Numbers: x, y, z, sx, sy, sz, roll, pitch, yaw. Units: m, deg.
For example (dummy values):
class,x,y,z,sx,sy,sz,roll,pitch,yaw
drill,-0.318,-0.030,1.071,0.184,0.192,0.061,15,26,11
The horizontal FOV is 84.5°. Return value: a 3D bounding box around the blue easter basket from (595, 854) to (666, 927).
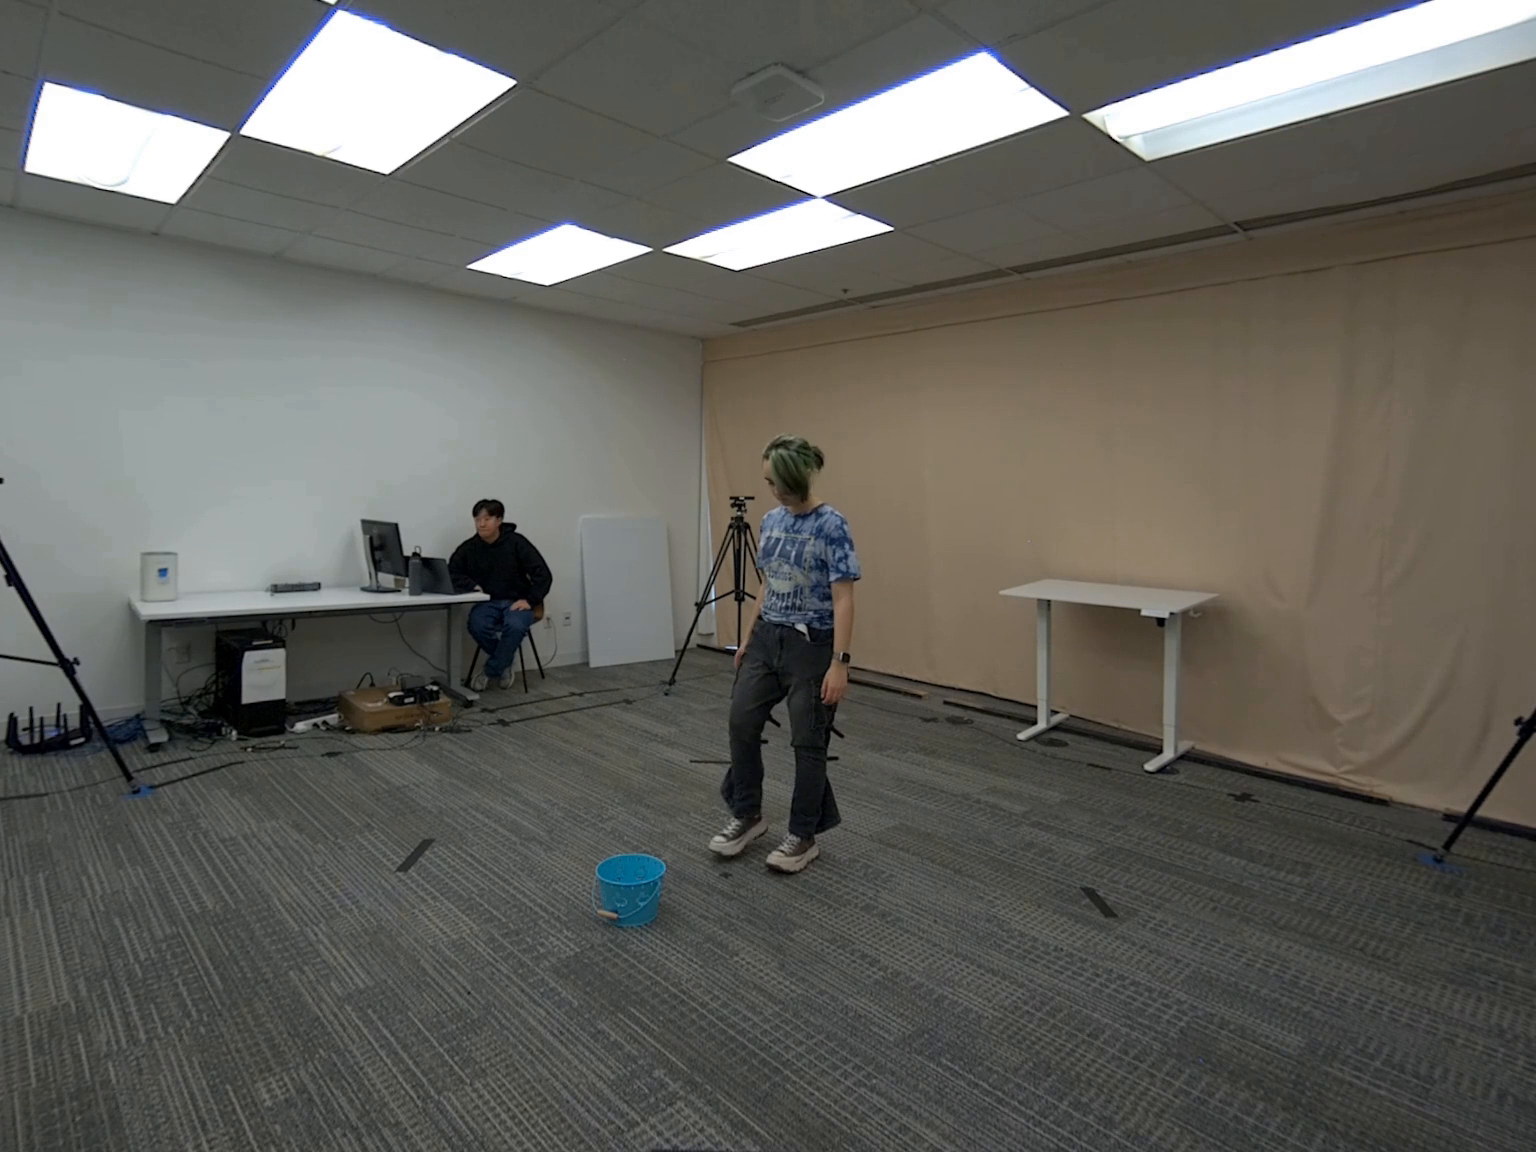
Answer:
class,x,y,z,sx,sy,sz,roll,pitch,yaw
blue easter basket,-0.472,1.048,2.801,0.243,0.155,0.244,1,5,-1
